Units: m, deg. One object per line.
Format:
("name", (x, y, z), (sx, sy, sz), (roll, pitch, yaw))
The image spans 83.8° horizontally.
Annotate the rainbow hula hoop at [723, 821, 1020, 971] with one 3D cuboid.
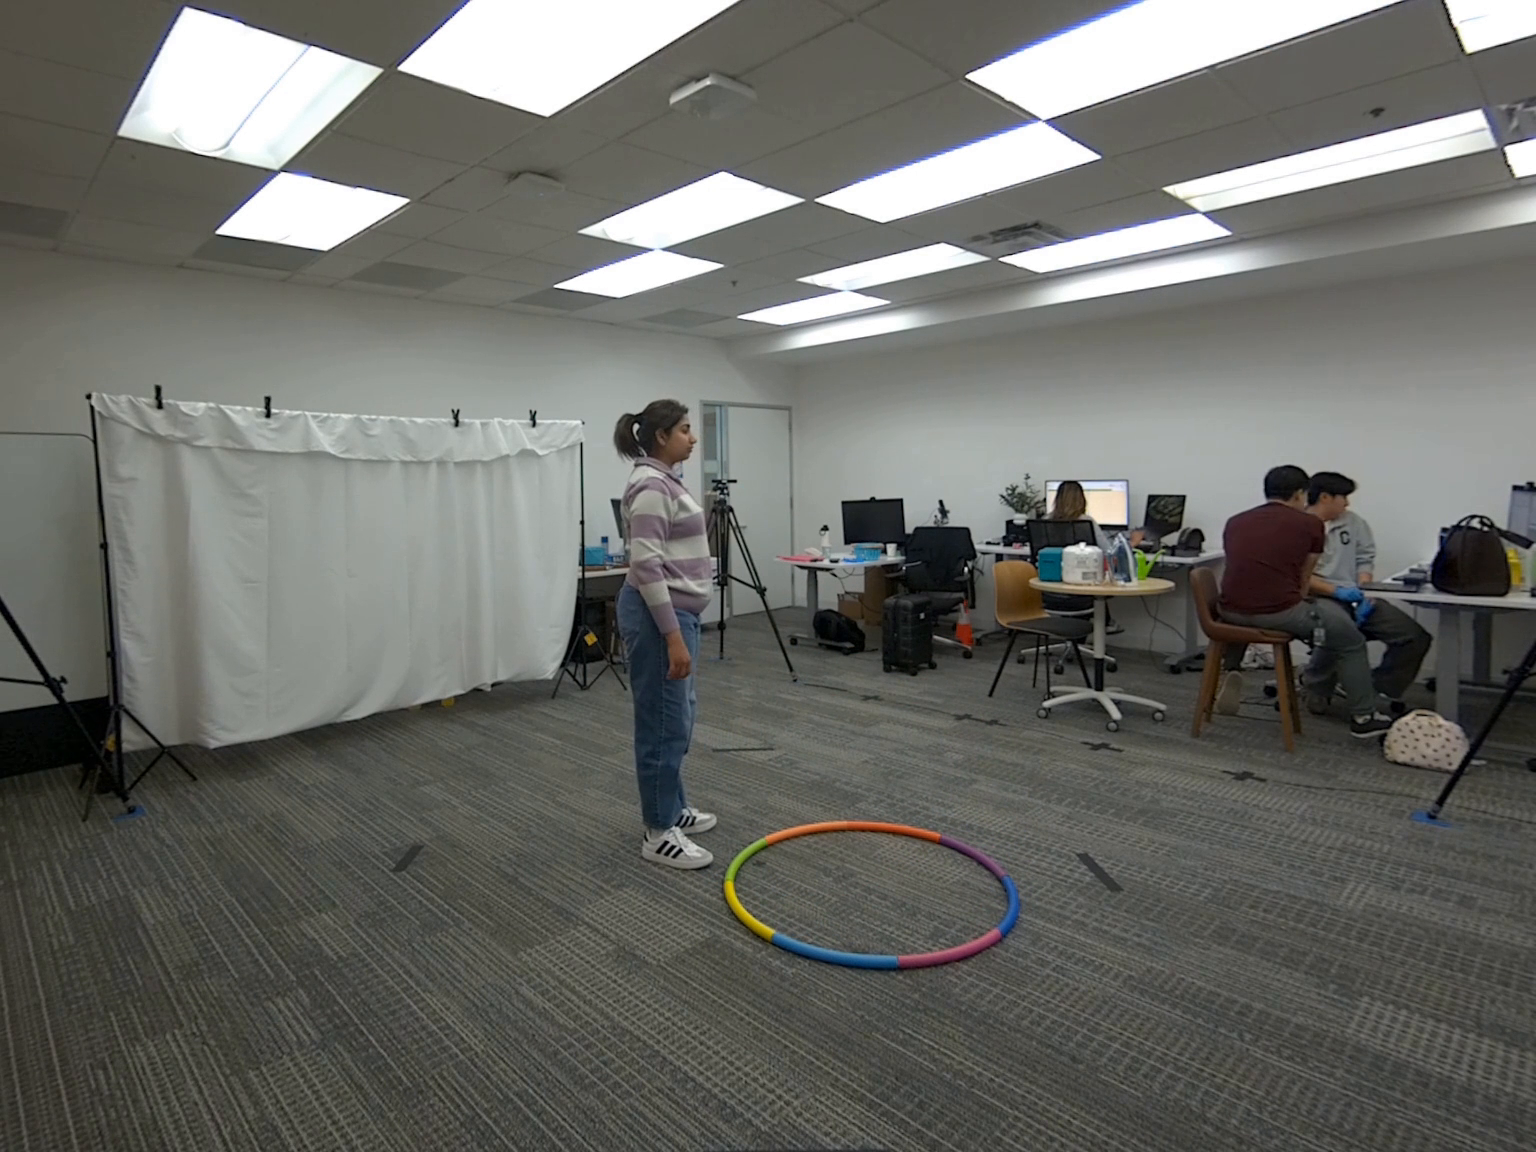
("rainbow hula hoop", (0.336, 1.033, 2.909), (0.978, 0.035, 0.984), (-1, 6, -2))
